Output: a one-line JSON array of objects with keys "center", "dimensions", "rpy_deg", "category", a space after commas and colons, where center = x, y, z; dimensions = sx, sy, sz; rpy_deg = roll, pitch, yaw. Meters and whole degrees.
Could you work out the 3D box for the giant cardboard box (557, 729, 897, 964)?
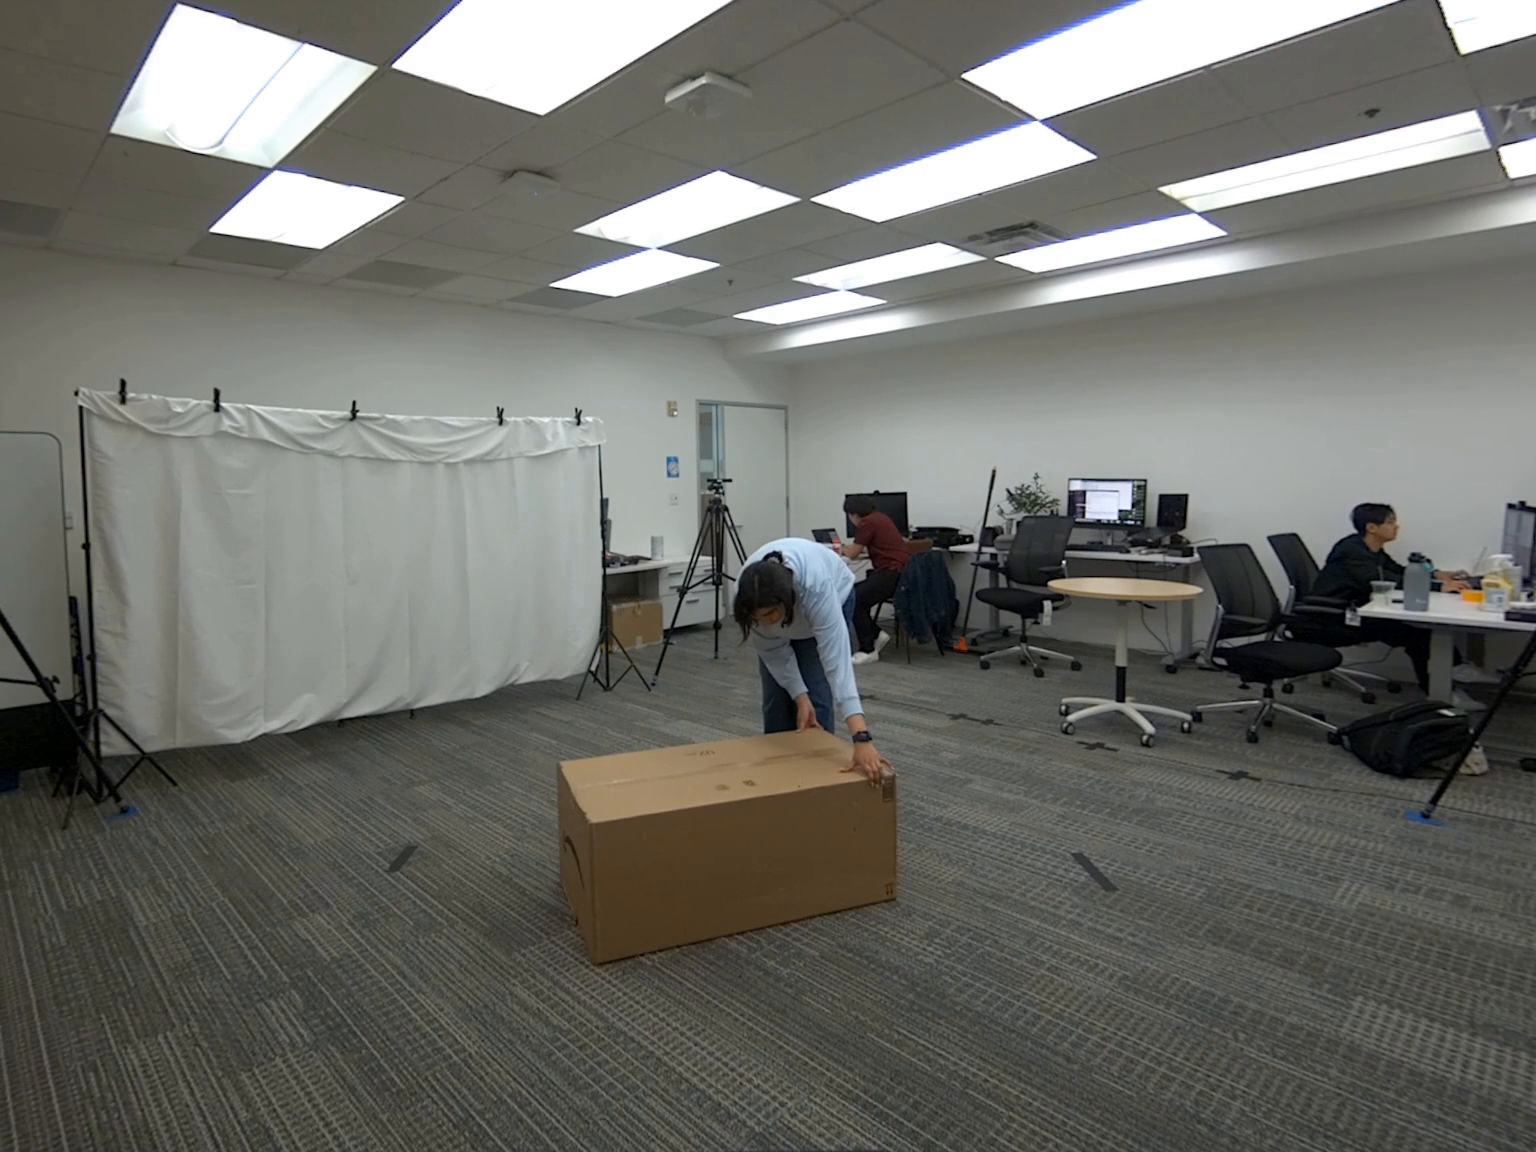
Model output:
[{"center": [-0.156, 0.859, 2.896], "dimensions": [1.007, 0.424, 0.591], "rpy_deg": [-4, 6, -21], "category": "giant cardboard box"}]
